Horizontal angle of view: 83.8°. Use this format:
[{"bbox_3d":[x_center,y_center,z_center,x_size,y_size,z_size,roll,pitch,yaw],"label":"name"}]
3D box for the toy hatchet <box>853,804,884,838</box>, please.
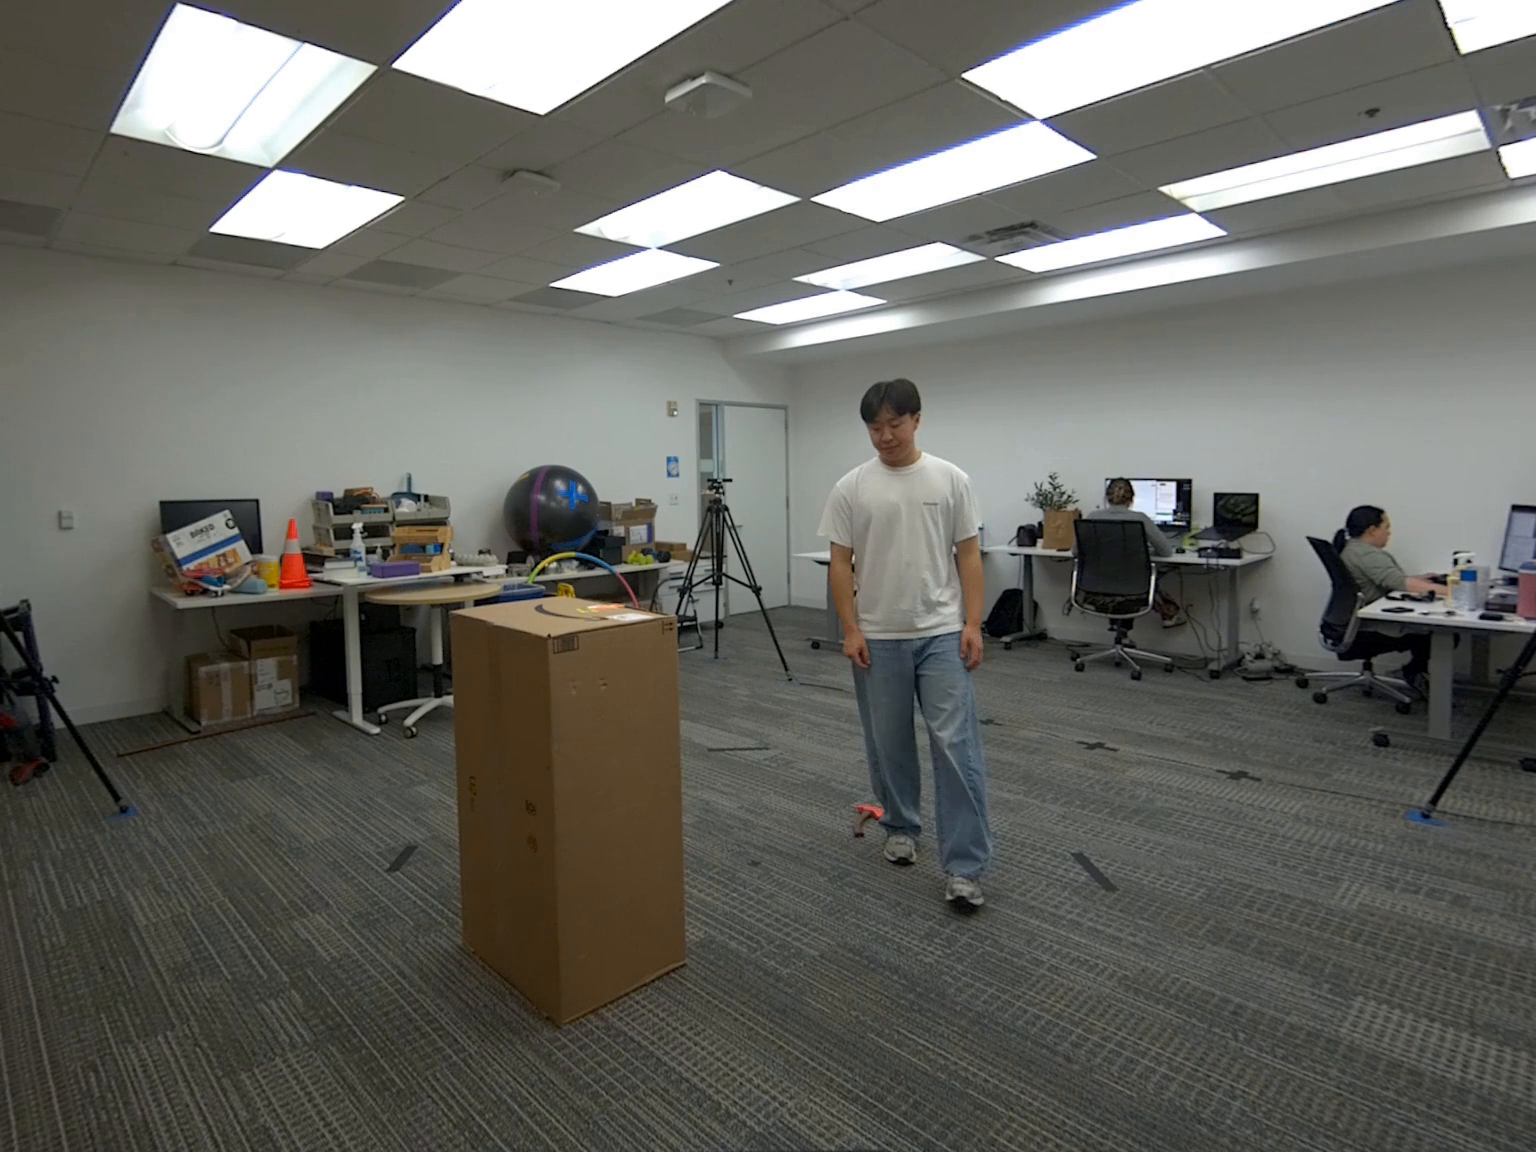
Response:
[{"bbox_3d":[0.415,0.990,3.440,0.132,0.029,0.269,1,8,7],"label":"toy hatchet"}]
